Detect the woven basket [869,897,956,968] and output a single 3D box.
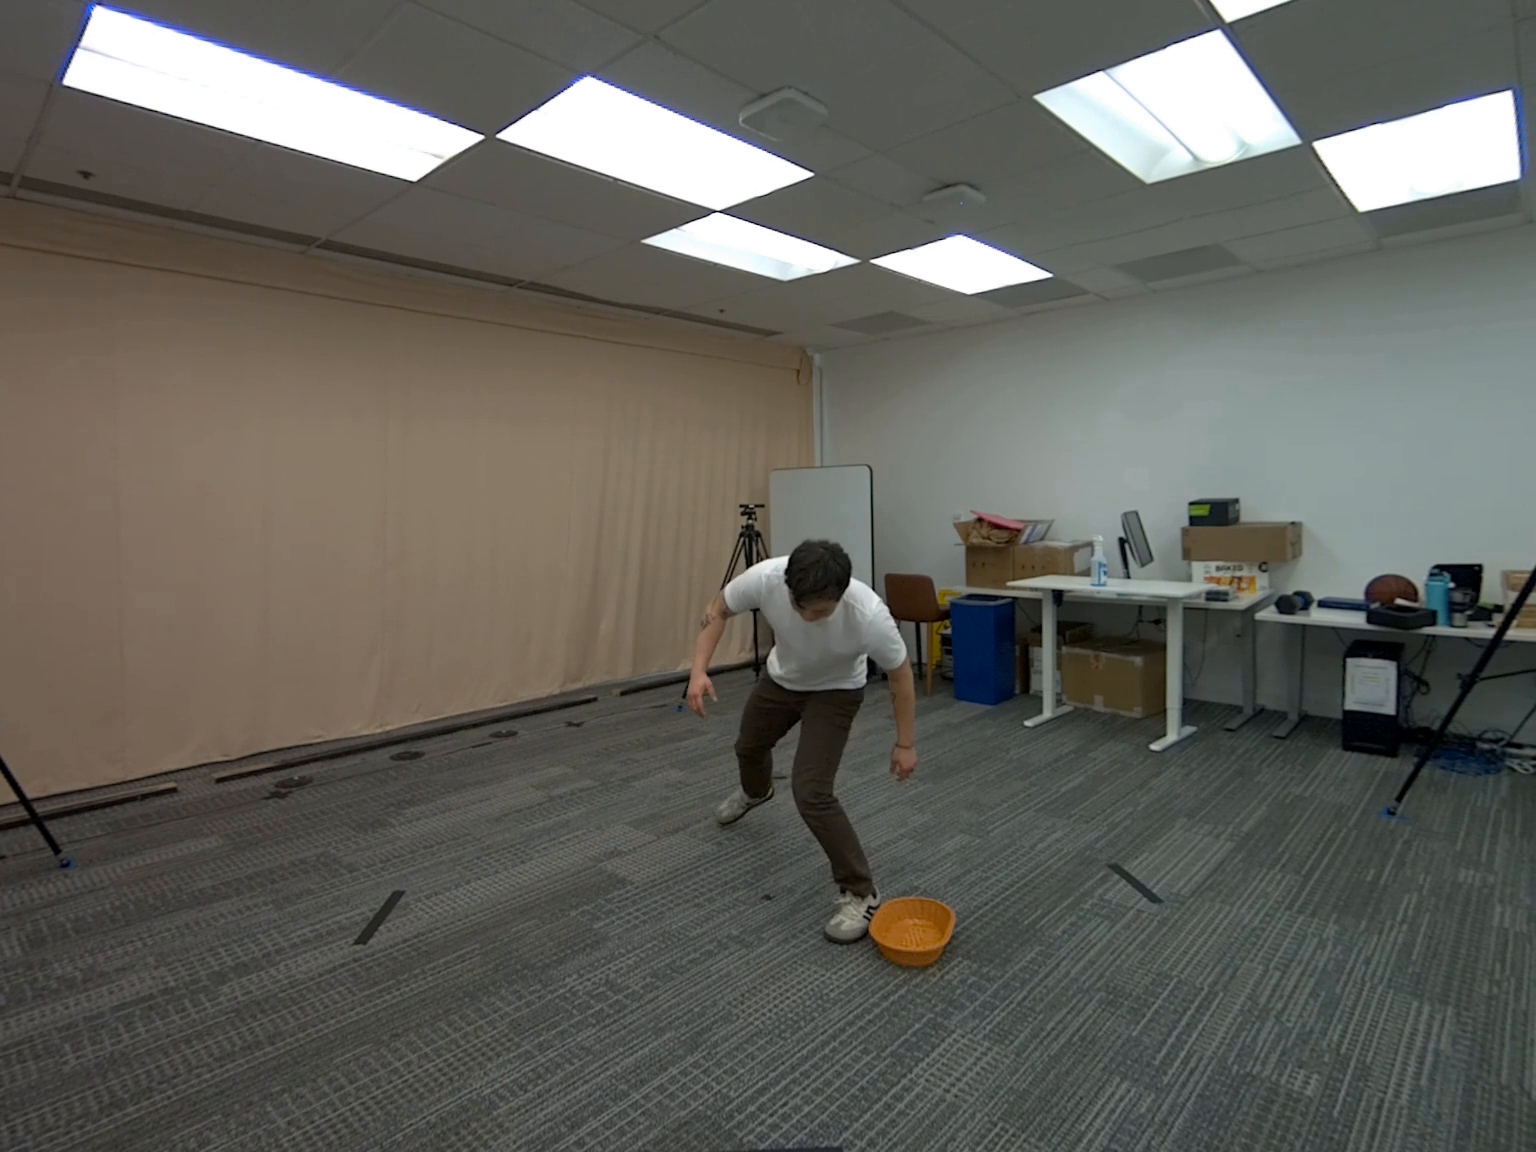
[{"bbox_3d":[0.458,1.121,2.654,0.258,0.073,0.343,-1,5,23],"label":"woven basket"}]
